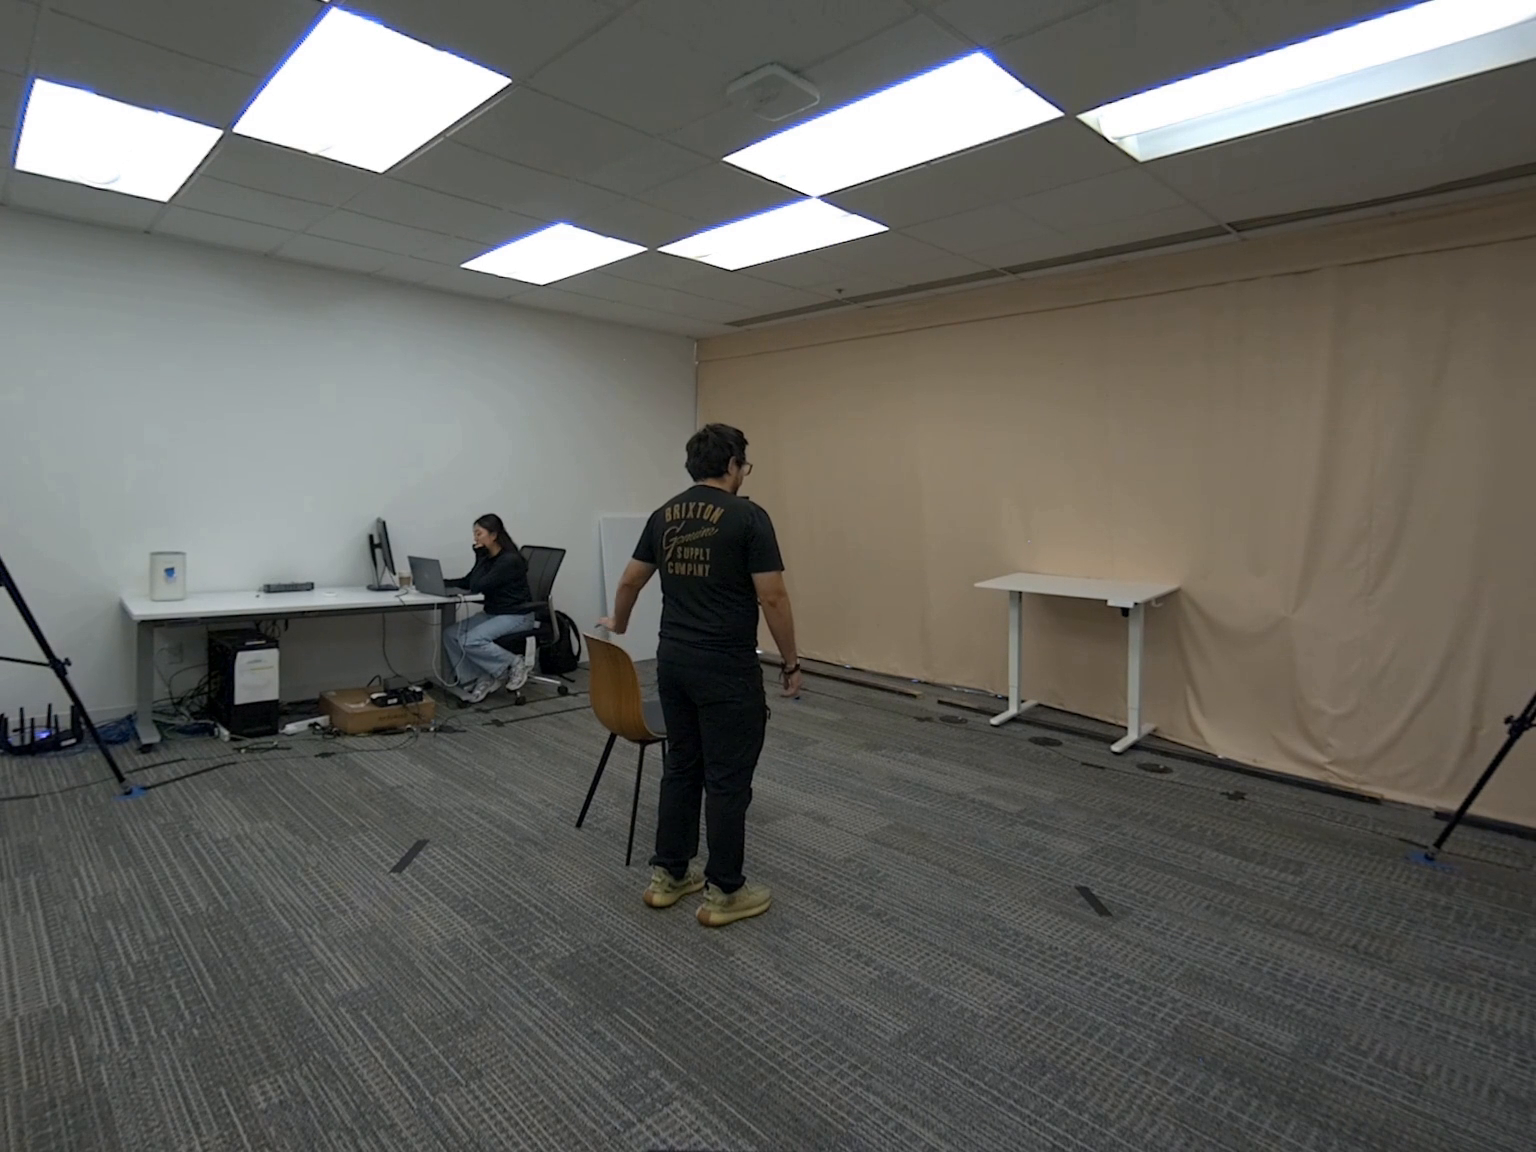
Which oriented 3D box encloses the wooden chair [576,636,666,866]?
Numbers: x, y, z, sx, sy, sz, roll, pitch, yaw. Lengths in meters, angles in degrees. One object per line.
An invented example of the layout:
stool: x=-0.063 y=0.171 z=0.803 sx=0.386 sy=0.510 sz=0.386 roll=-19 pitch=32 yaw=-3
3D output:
wooden chair: x=-0.476 y=0.639 z=3.446 sx=0.512 sy=0.873 sz=0.490 roll=-6 pitch=7 yaw=-37
